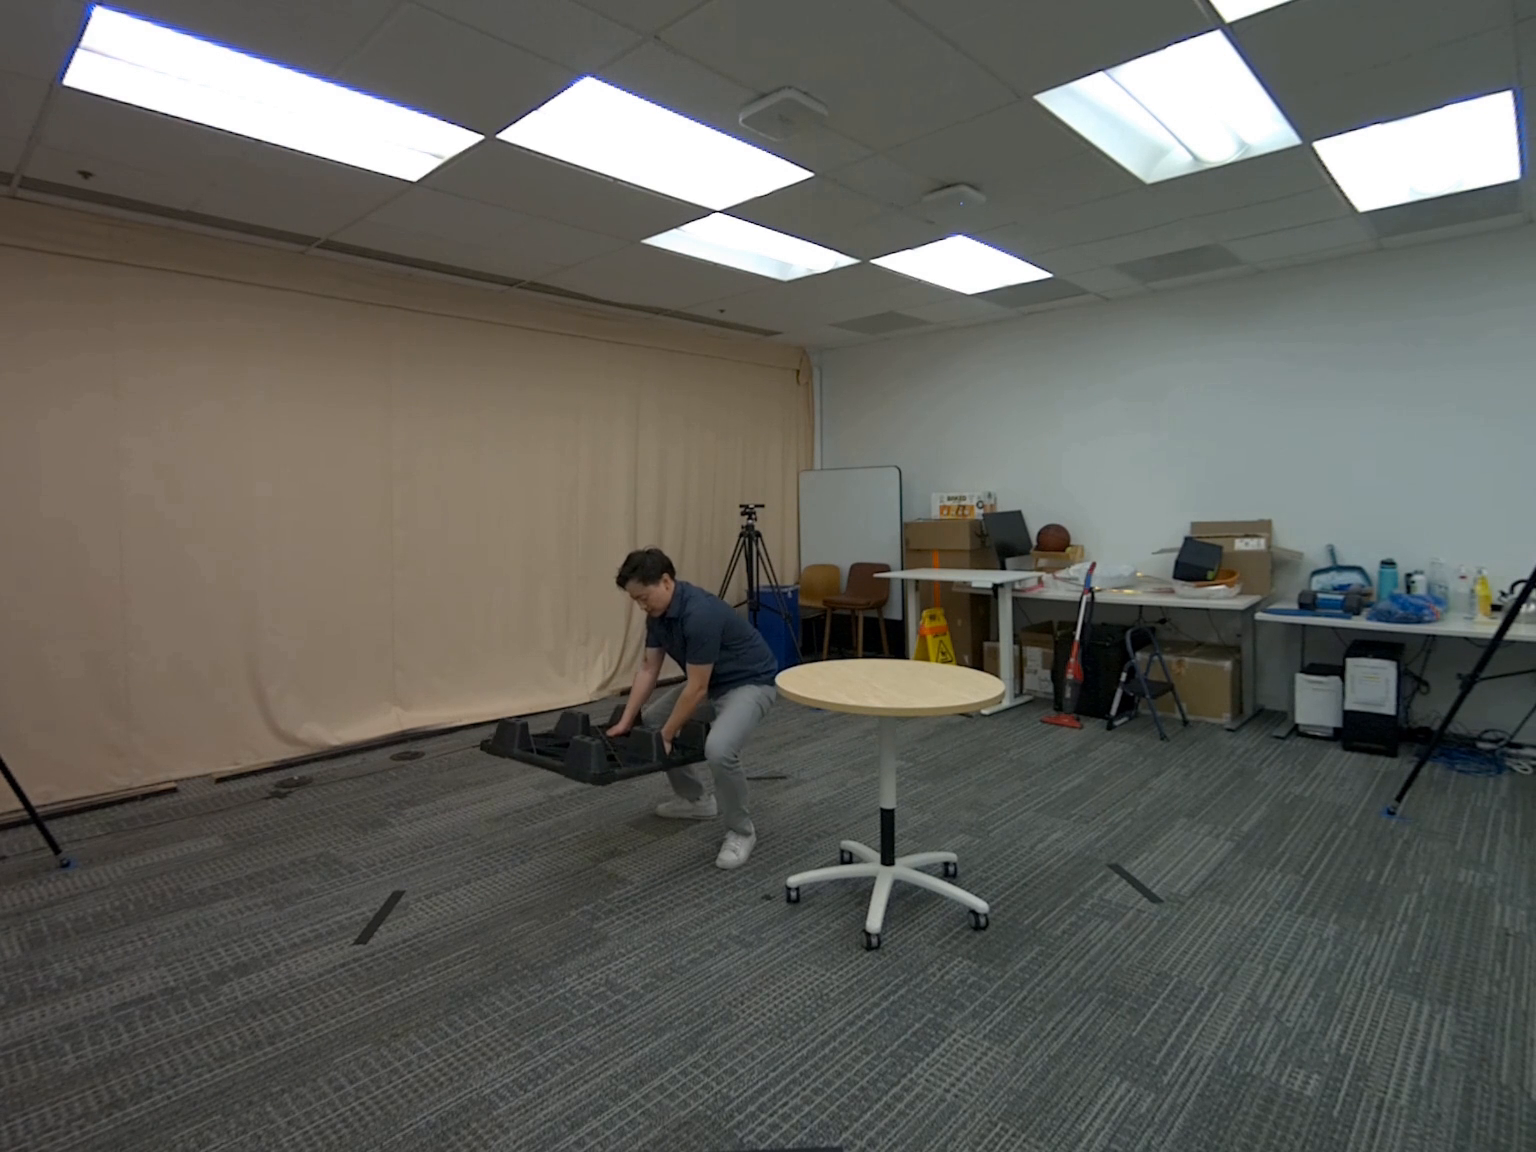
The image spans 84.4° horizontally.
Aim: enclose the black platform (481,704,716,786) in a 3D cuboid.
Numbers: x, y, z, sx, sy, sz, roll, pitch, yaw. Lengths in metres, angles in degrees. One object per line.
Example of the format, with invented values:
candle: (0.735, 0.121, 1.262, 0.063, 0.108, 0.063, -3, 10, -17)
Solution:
black platform: (-0.635, 0.640, 3.331, 0.624, 0.143, 0.780, 7, -1, 31)
